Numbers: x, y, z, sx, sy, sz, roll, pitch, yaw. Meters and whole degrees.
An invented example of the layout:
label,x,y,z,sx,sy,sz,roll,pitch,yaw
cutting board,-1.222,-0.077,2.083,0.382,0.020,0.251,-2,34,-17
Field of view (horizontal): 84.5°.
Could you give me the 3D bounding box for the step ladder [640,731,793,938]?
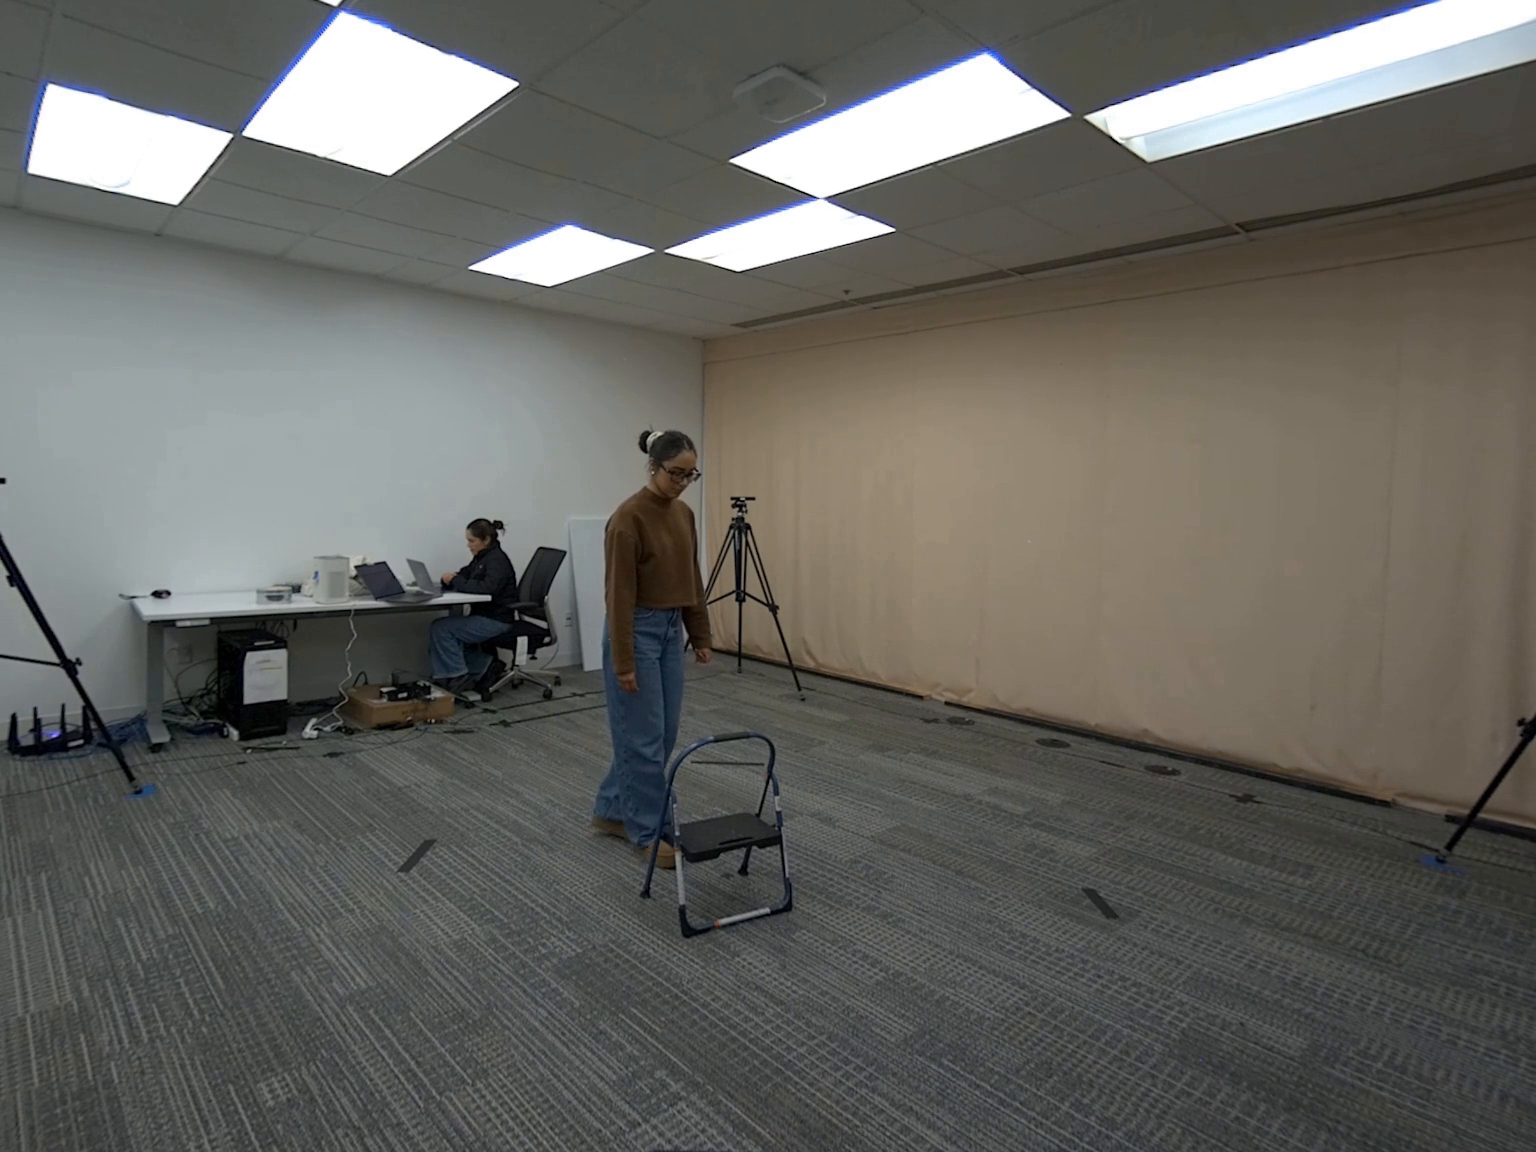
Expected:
label,x,y,z,sx,sy,sz,roll,pitch,yaw
step ladder,-0.176,0.821,2.881,0.422,0.604,0.357,-1,4,-32
